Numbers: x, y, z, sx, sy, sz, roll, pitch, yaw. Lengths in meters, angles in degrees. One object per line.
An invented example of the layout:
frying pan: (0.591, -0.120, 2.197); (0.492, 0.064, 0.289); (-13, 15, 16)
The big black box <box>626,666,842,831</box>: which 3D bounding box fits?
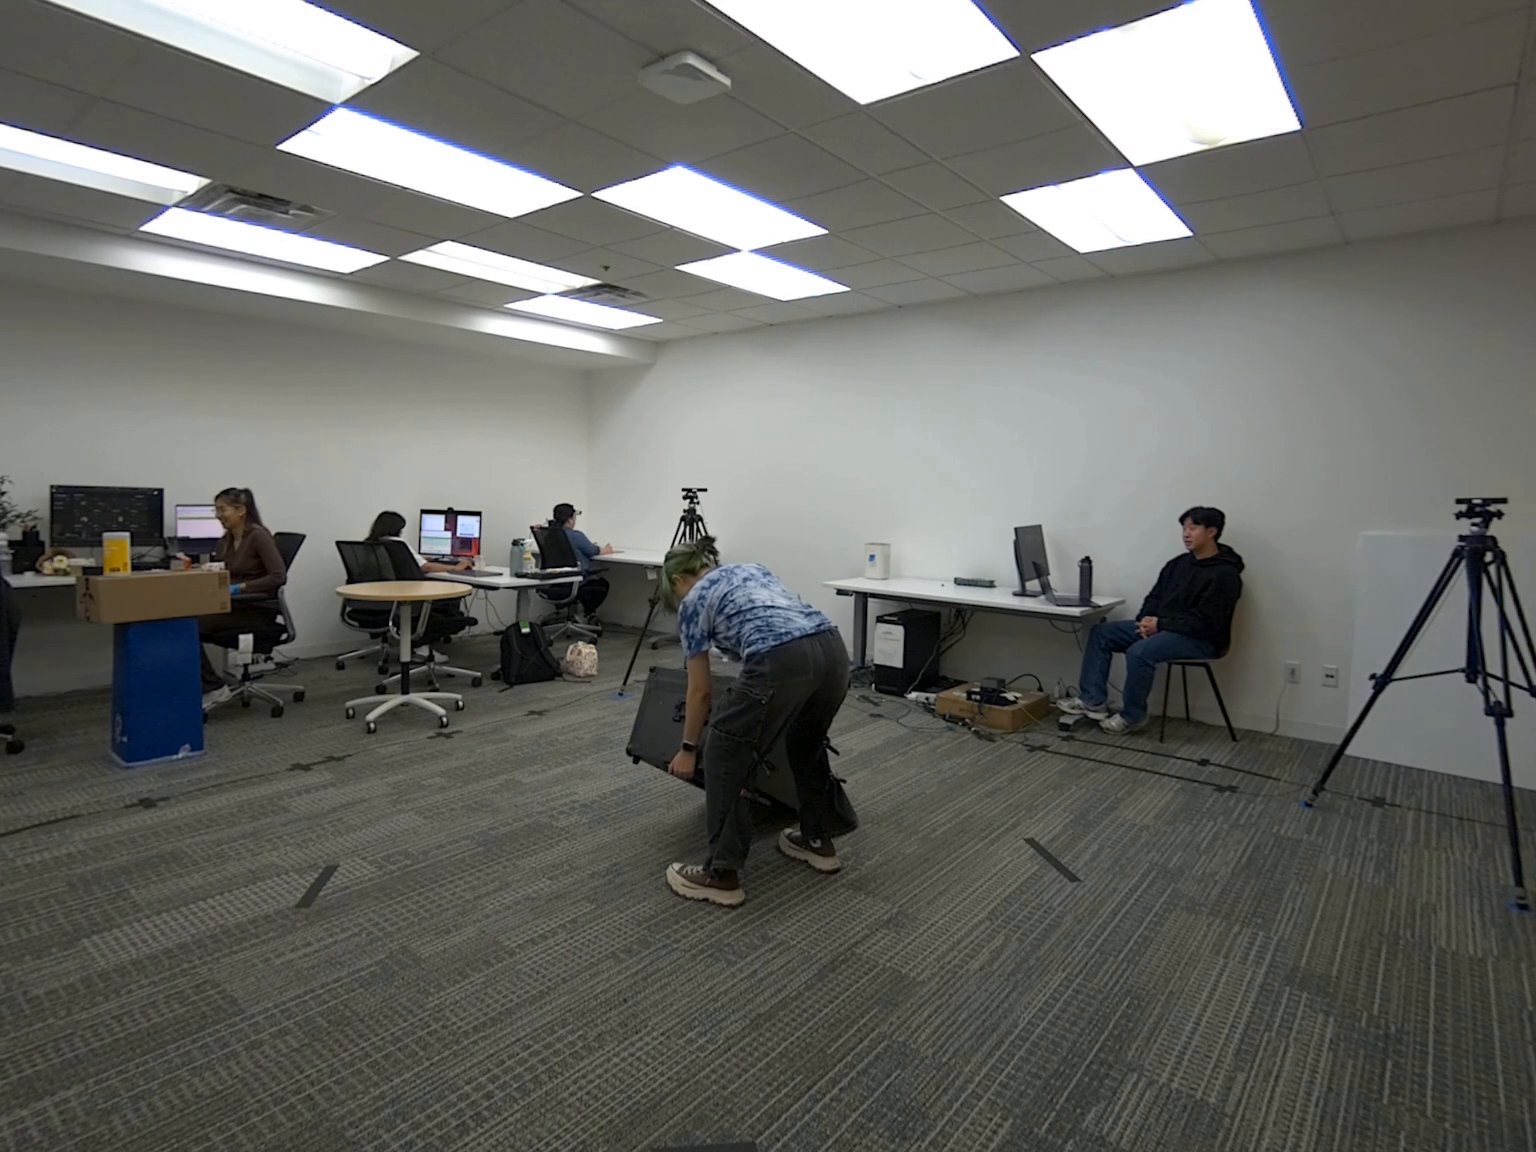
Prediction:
big black box: (-0.149, 0.711, 3.534); (0.536, 0.401, 0.827); (5, -21, 28)
